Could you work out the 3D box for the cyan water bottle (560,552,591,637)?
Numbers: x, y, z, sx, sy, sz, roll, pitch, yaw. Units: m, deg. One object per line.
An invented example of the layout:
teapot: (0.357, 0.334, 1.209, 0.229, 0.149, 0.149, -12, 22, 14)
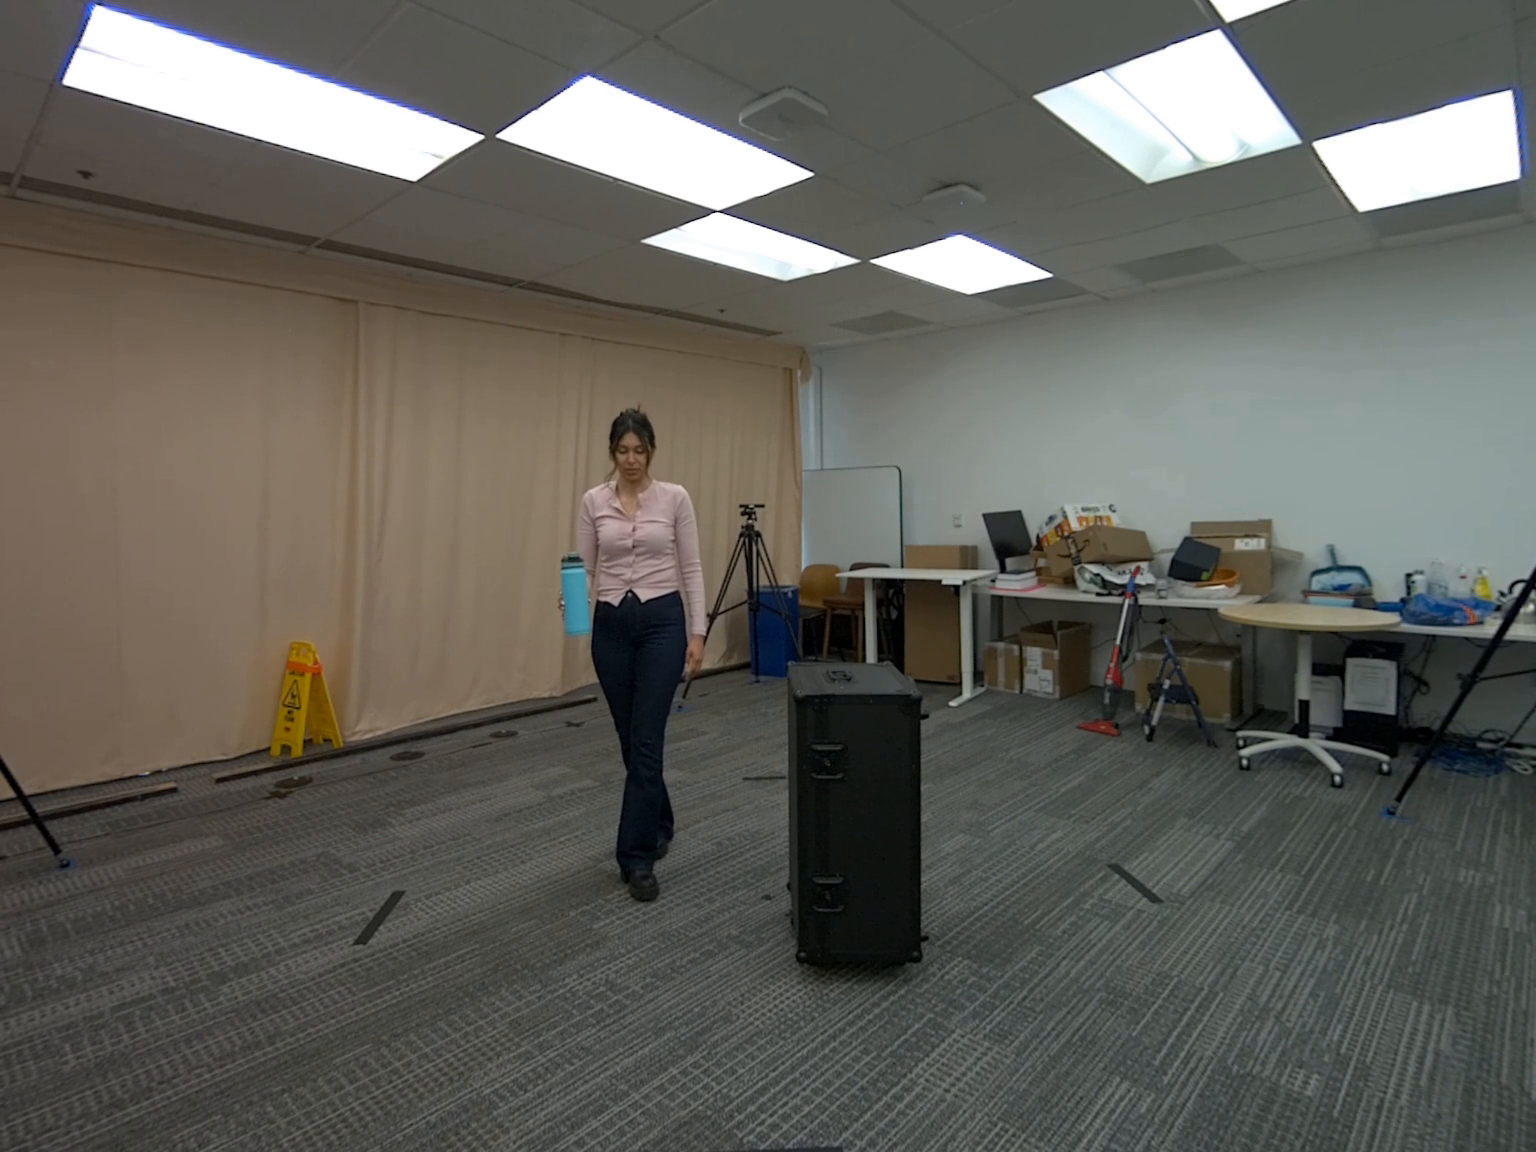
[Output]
cyan water bottle: (-0.670, 0.058, 2.931, 0.092, 0.283, 0.092, -7, -1, -2)
